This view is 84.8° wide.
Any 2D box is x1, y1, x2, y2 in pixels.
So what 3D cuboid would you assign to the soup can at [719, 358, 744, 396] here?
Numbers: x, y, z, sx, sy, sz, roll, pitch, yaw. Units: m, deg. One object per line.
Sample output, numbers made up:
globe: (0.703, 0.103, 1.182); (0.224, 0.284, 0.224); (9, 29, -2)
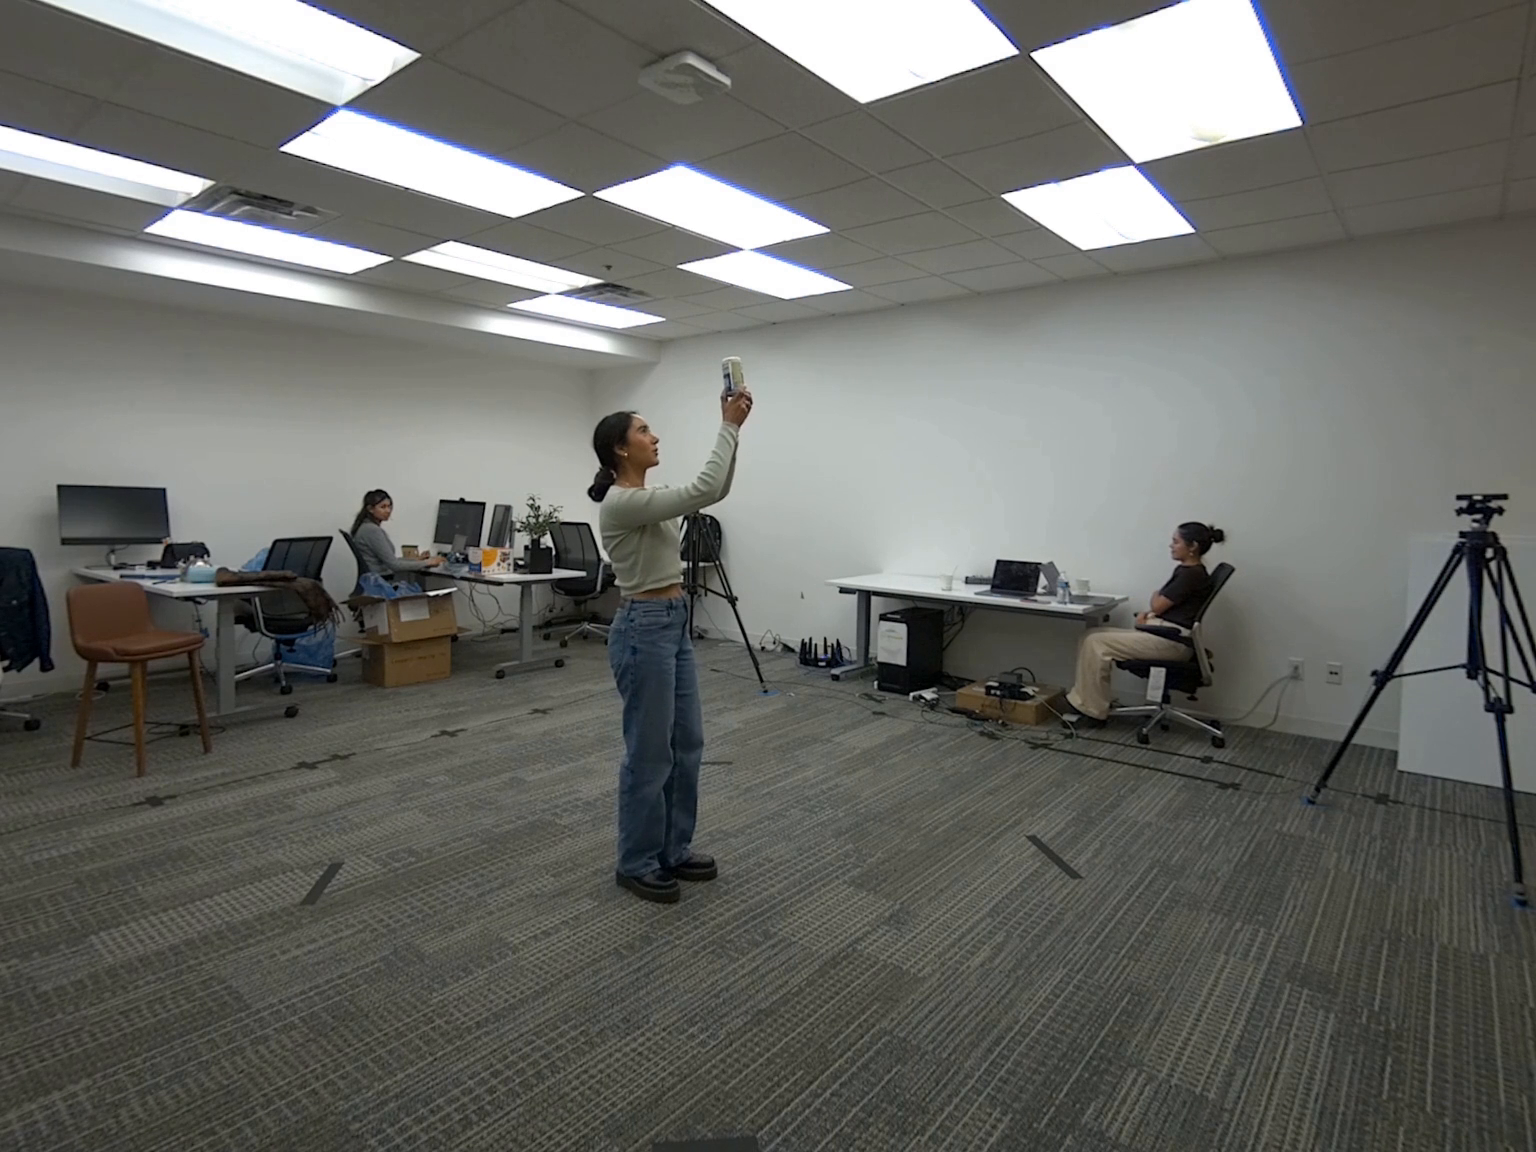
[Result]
soup can: (-0.124, -0.664, 2.835); (0.067, 0.122, 0.067); (-6, -4, -2)
